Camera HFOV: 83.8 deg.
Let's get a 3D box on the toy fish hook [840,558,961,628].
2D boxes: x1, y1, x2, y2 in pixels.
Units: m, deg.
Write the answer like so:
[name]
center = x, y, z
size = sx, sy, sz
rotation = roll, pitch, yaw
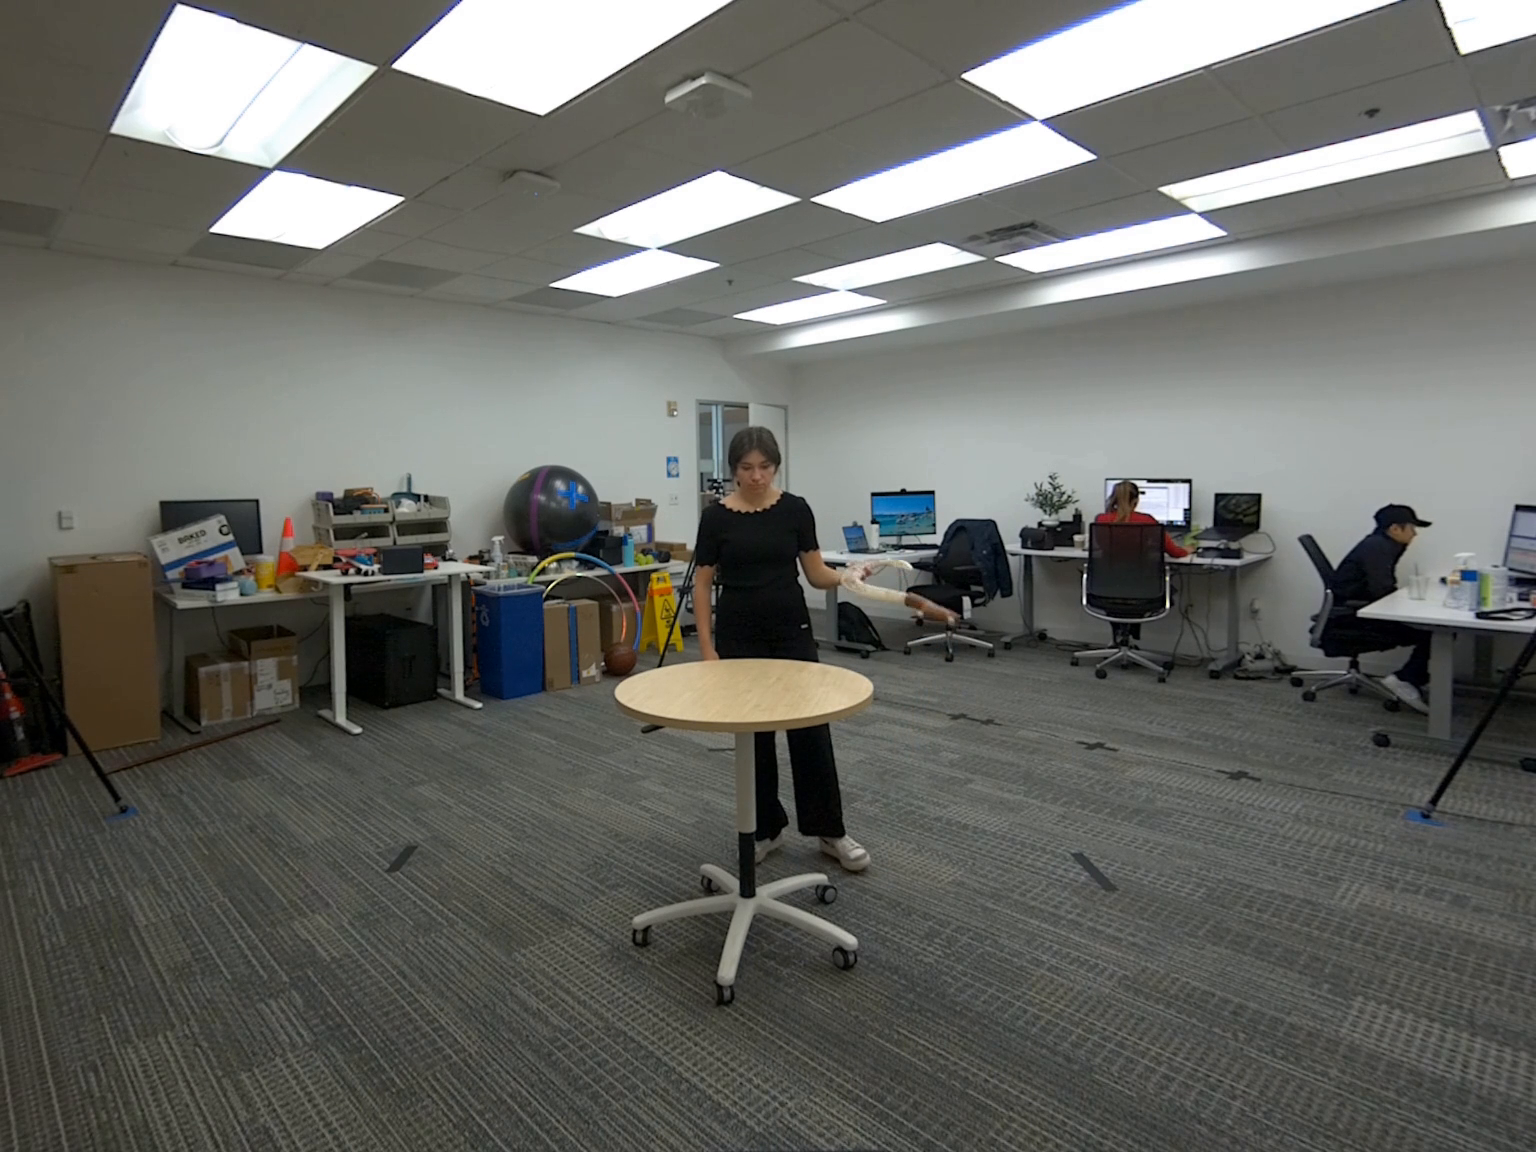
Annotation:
[toy fish hook]
center = 0.437, 0.051, 2.725
size = 0.223, 0.047, 0.526
rotation = -36, 35, -21
